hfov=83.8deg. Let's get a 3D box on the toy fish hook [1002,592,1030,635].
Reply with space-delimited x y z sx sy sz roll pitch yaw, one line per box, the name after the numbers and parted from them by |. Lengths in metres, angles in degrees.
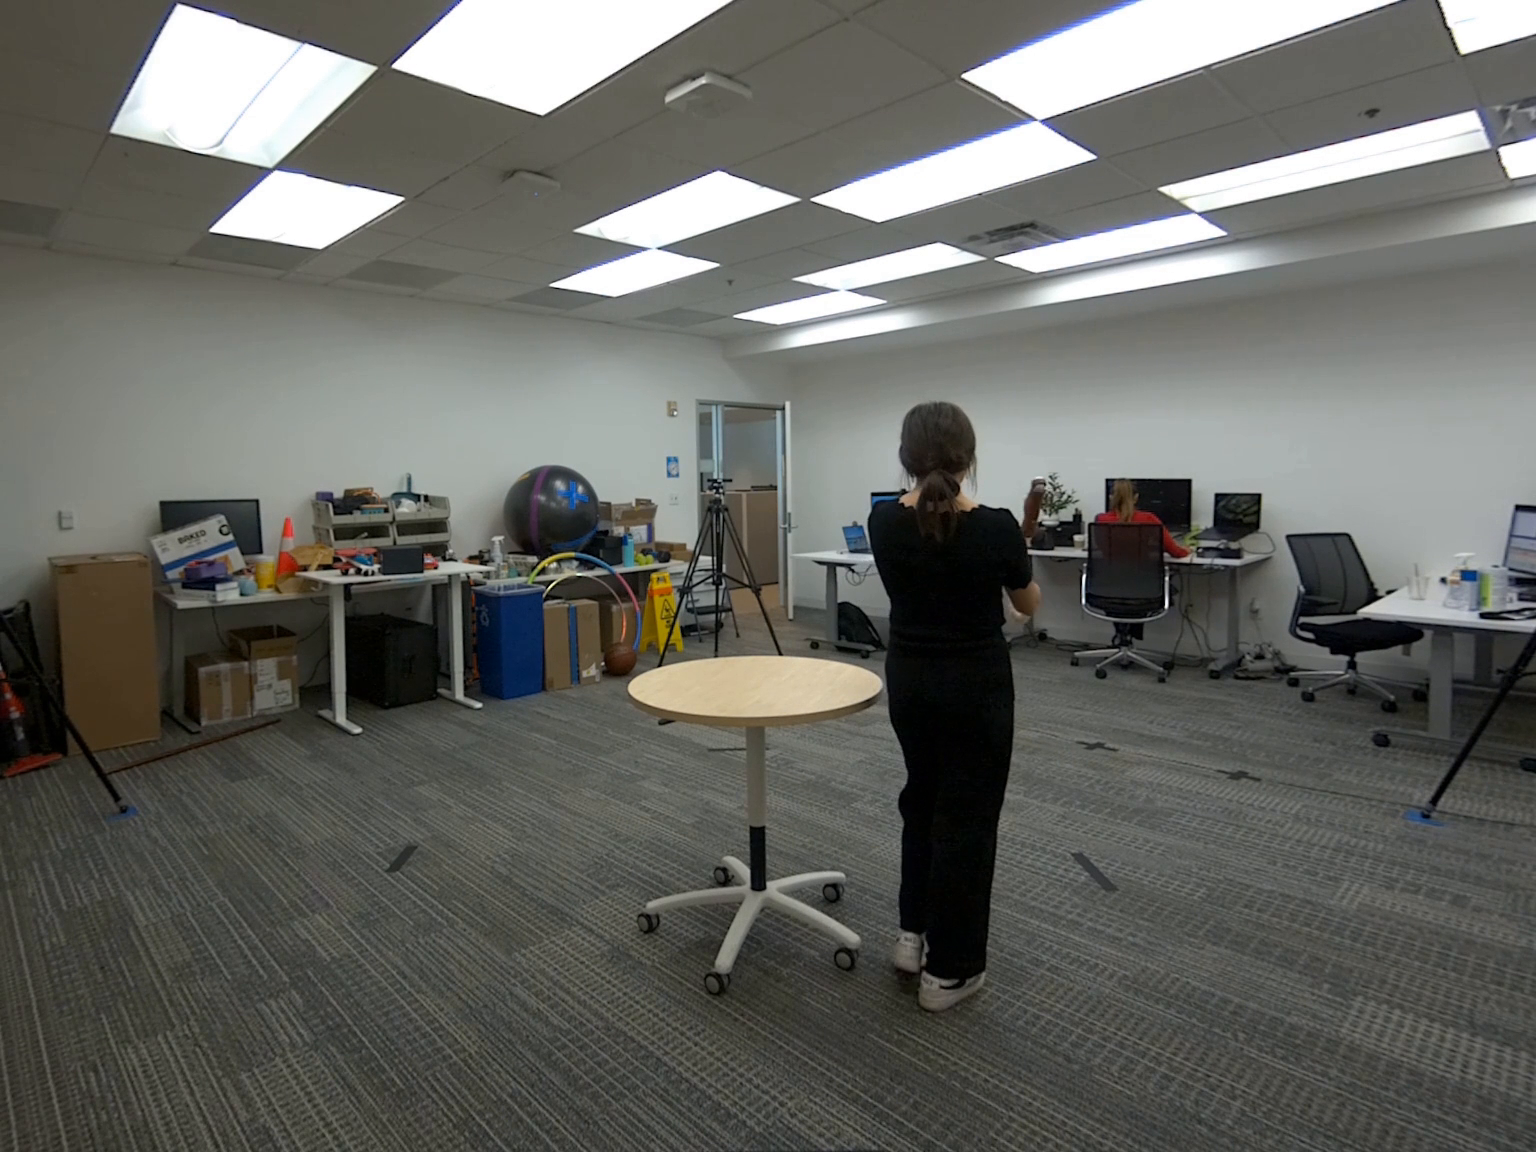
0.753 -0.050 2.412 0.048 0.491 0.231 -6 46 -2 | toy fish hook
